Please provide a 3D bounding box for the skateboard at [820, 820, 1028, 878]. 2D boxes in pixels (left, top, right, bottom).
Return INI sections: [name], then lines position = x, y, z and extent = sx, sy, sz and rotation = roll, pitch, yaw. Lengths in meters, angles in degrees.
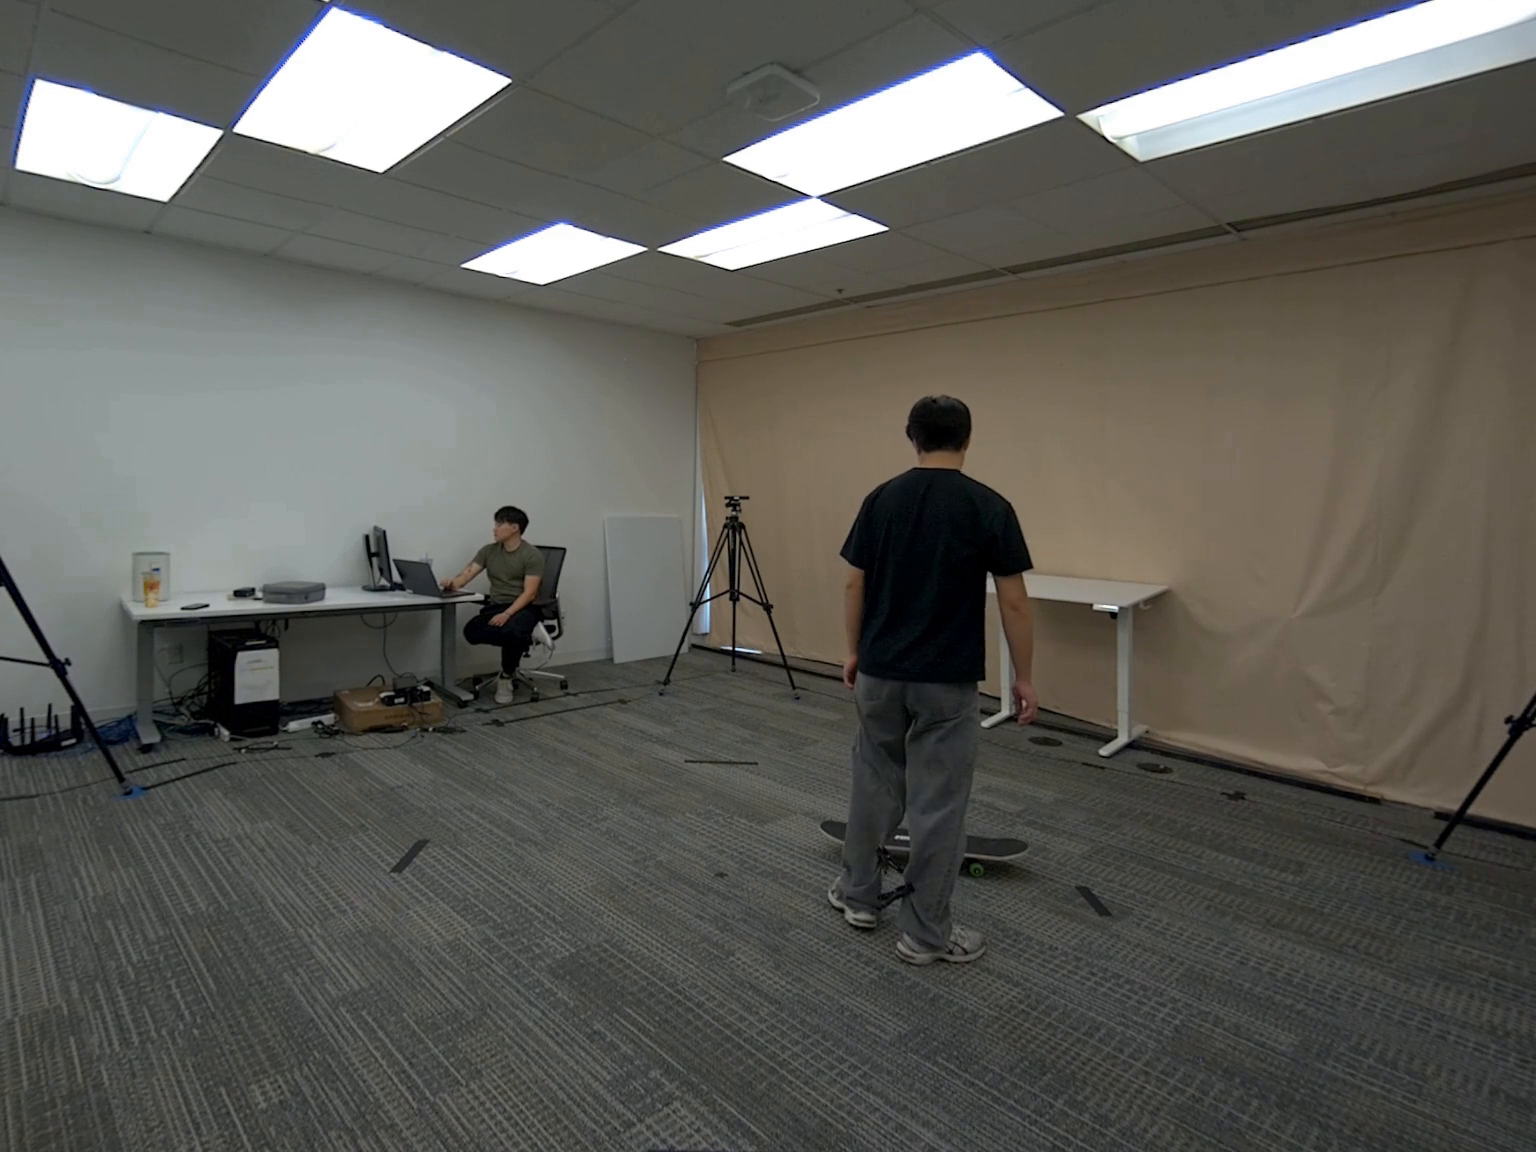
[skateboard]
position = 0.581, 1.049, 3.256
extent = 0.792, 0.110, 0.192
rotation = 3, 3, 10
